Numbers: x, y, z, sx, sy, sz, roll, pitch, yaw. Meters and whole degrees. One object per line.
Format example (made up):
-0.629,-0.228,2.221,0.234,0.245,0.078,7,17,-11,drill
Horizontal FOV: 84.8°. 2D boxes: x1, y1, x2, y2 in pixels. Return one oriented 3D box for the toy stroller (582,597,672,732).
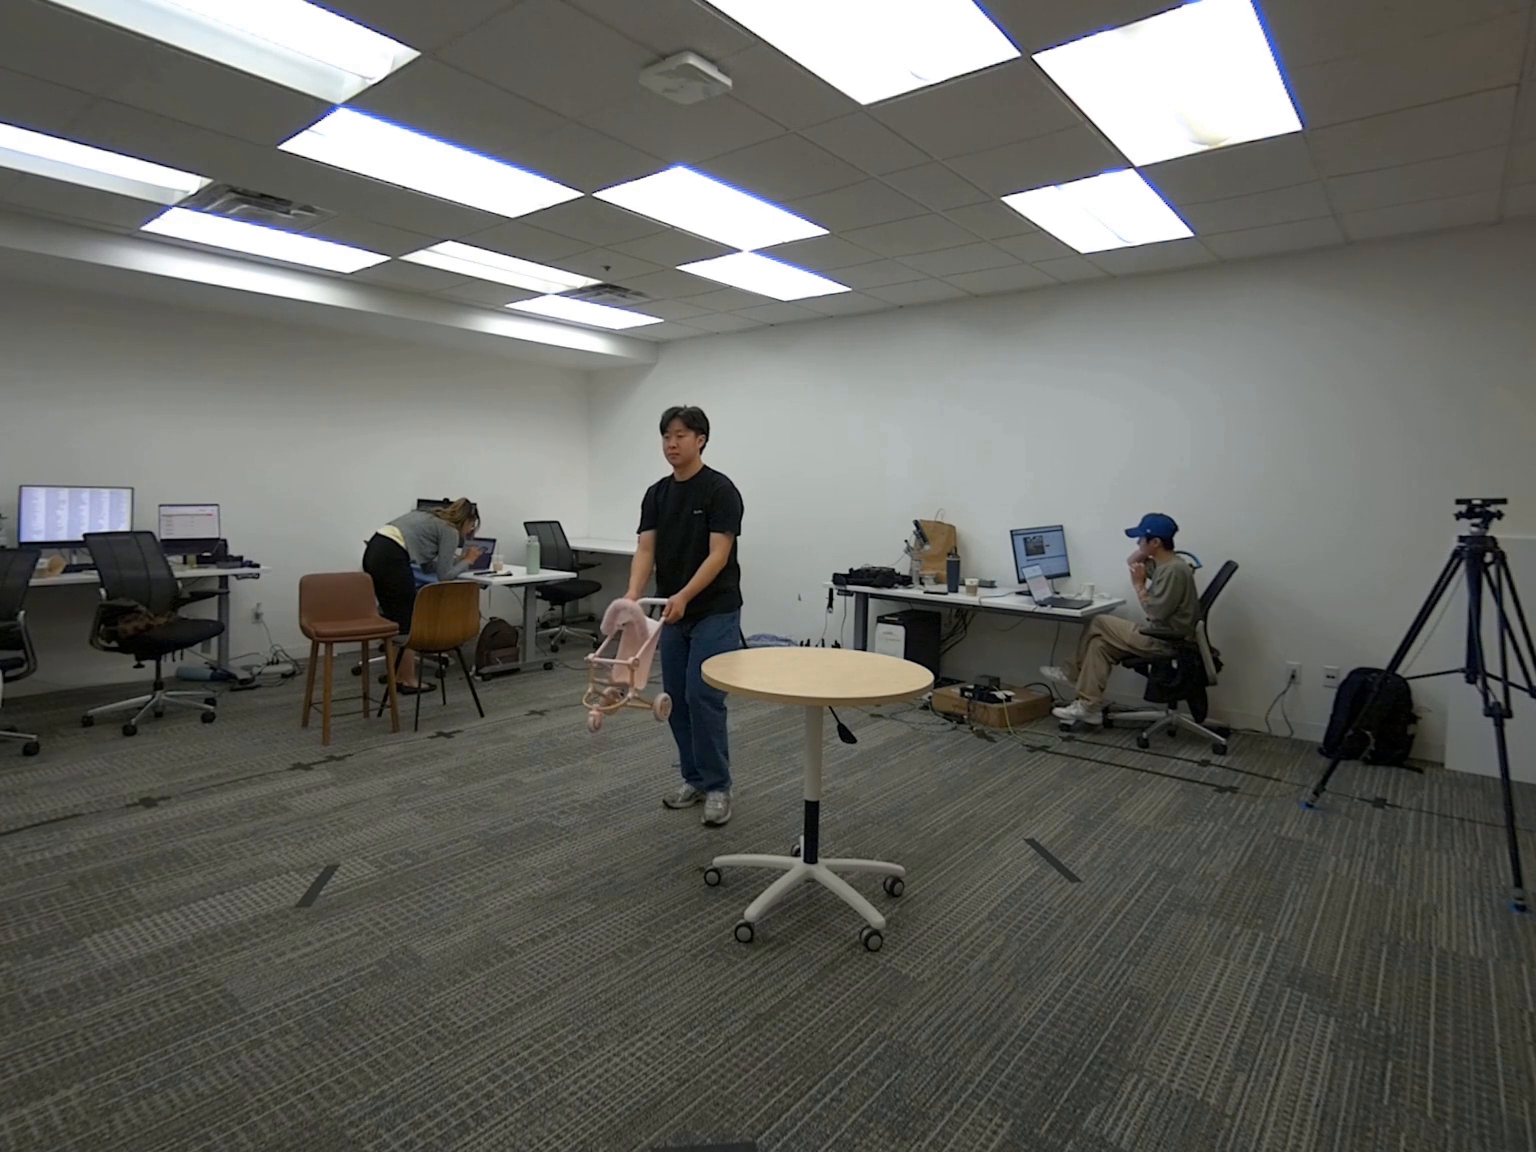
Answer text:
-0.564,0.335,3.249,0.290,0.539,0.328,1,-11,34,toy stroller
